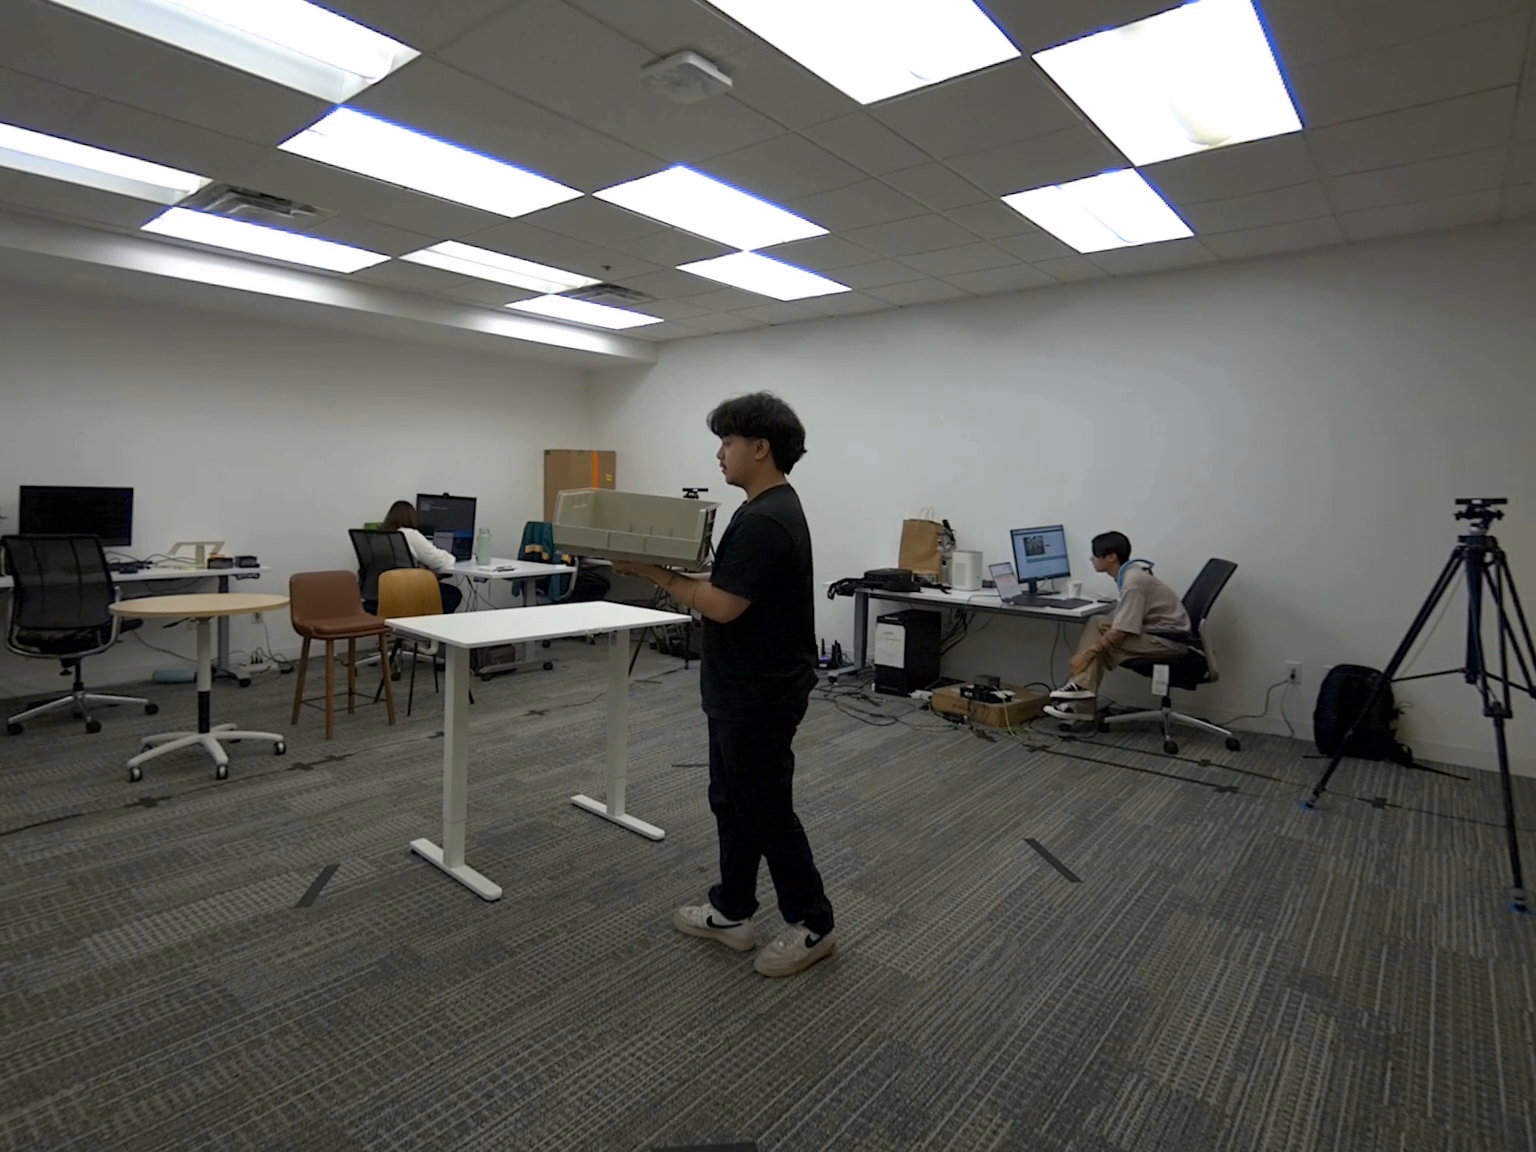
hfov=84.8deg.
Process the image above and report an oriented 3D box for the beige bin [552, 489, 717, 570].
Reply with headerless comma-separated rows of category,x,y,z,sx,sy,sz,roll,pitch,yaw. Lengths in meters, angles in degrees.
beige bin,-0.379,-0.140,2.499,0.423,0.188,0.378,5,7,1
